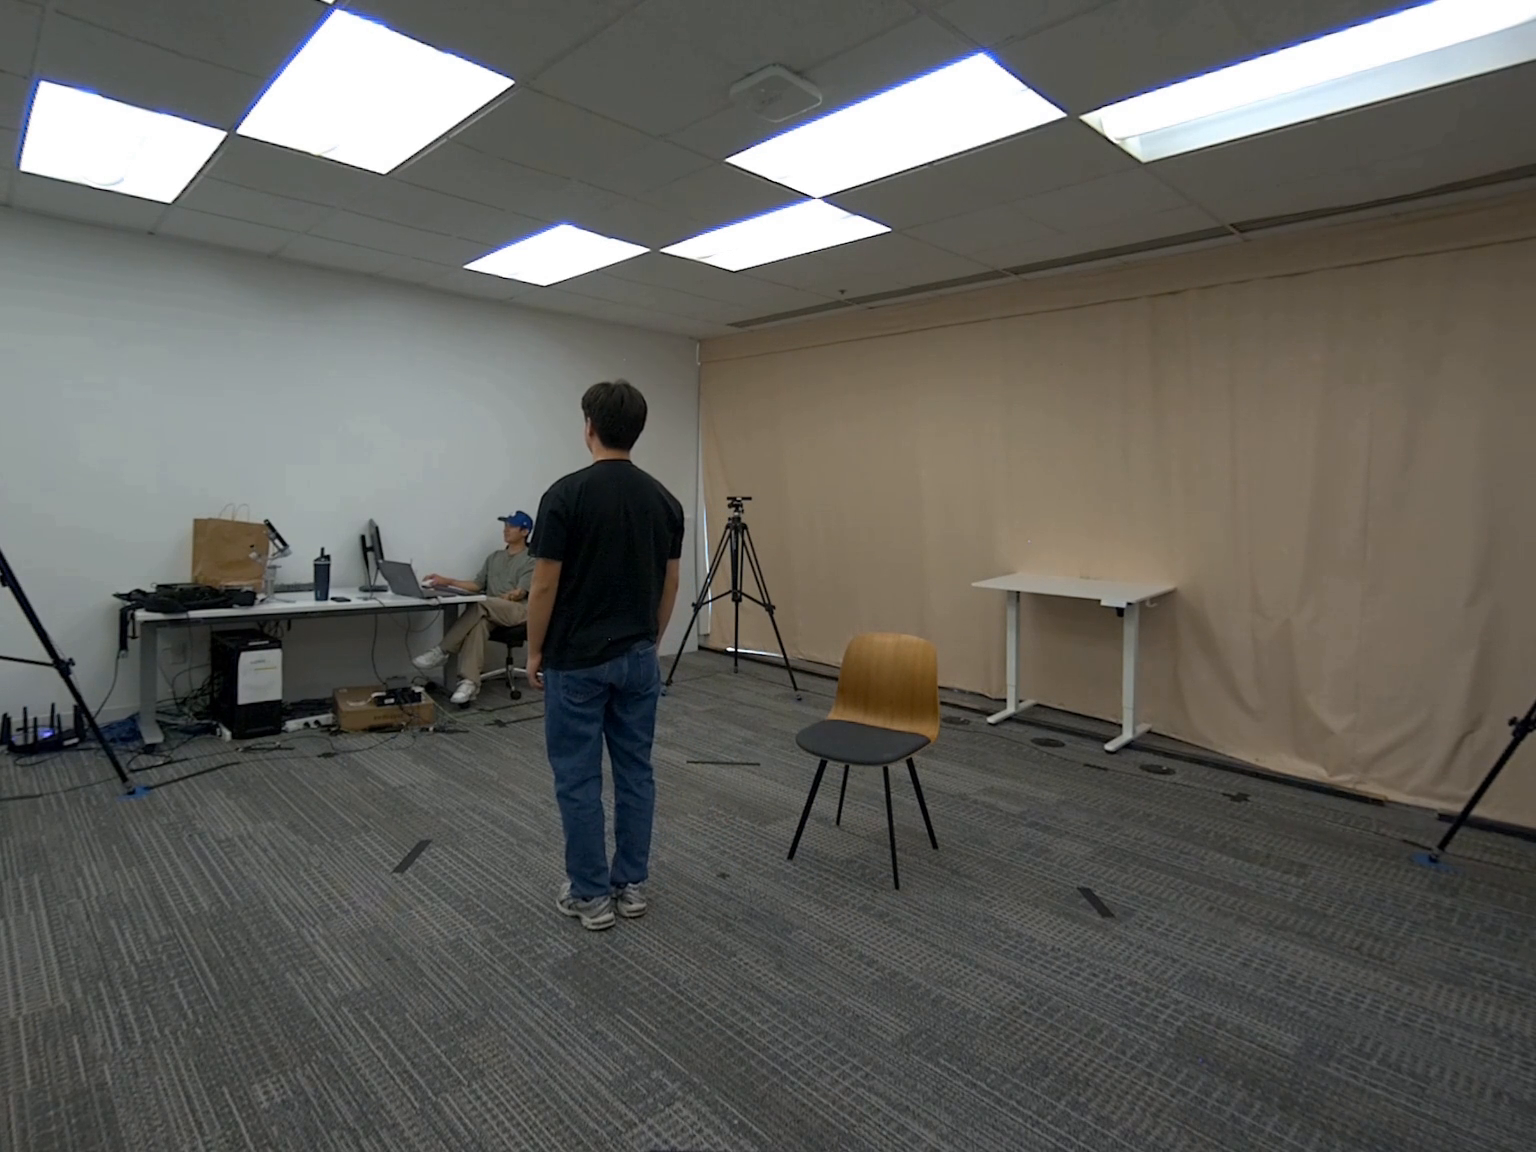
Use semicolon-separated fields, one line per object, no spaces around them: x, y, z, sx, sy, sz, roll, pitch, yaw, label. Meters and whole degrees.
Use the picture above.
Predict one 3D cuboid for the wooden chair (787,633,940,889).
0.384;0.676;3.292;0.489;0.878;0.511;4;-1;31;wooden chair
